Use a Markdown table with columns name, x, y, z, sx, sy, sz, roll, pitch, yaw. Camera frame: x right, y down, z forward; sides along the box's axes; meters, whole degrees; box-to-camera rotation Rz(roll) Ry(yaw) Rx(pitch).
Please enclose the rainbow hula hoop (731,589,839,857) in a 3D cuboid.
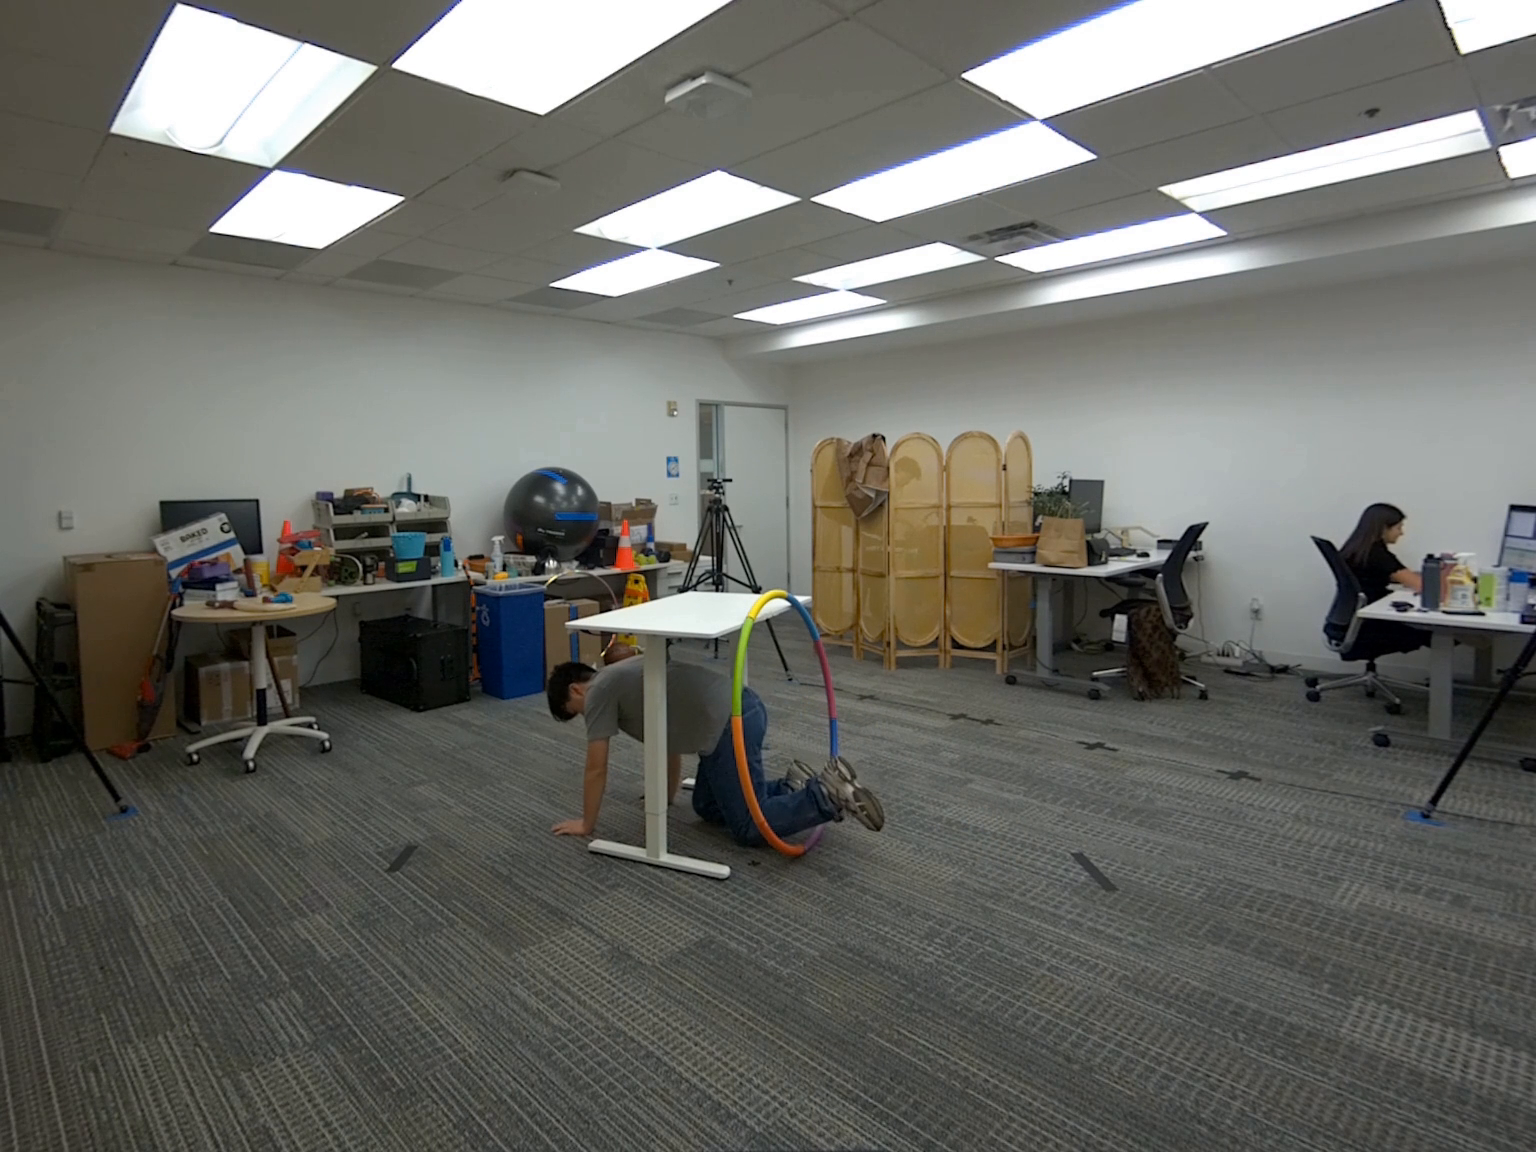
| name | x | y | z | sx | sy | sz | roll | pitch | yaw |
| --- | --- | --- | --- | --- | --- | --- | --- | --- | --- |
| rainbow hula hoop | 0.088 | 0.543 | 3.262 | 0.036 | 0.979 | 0.962 | -10 | 1 | 22 |
